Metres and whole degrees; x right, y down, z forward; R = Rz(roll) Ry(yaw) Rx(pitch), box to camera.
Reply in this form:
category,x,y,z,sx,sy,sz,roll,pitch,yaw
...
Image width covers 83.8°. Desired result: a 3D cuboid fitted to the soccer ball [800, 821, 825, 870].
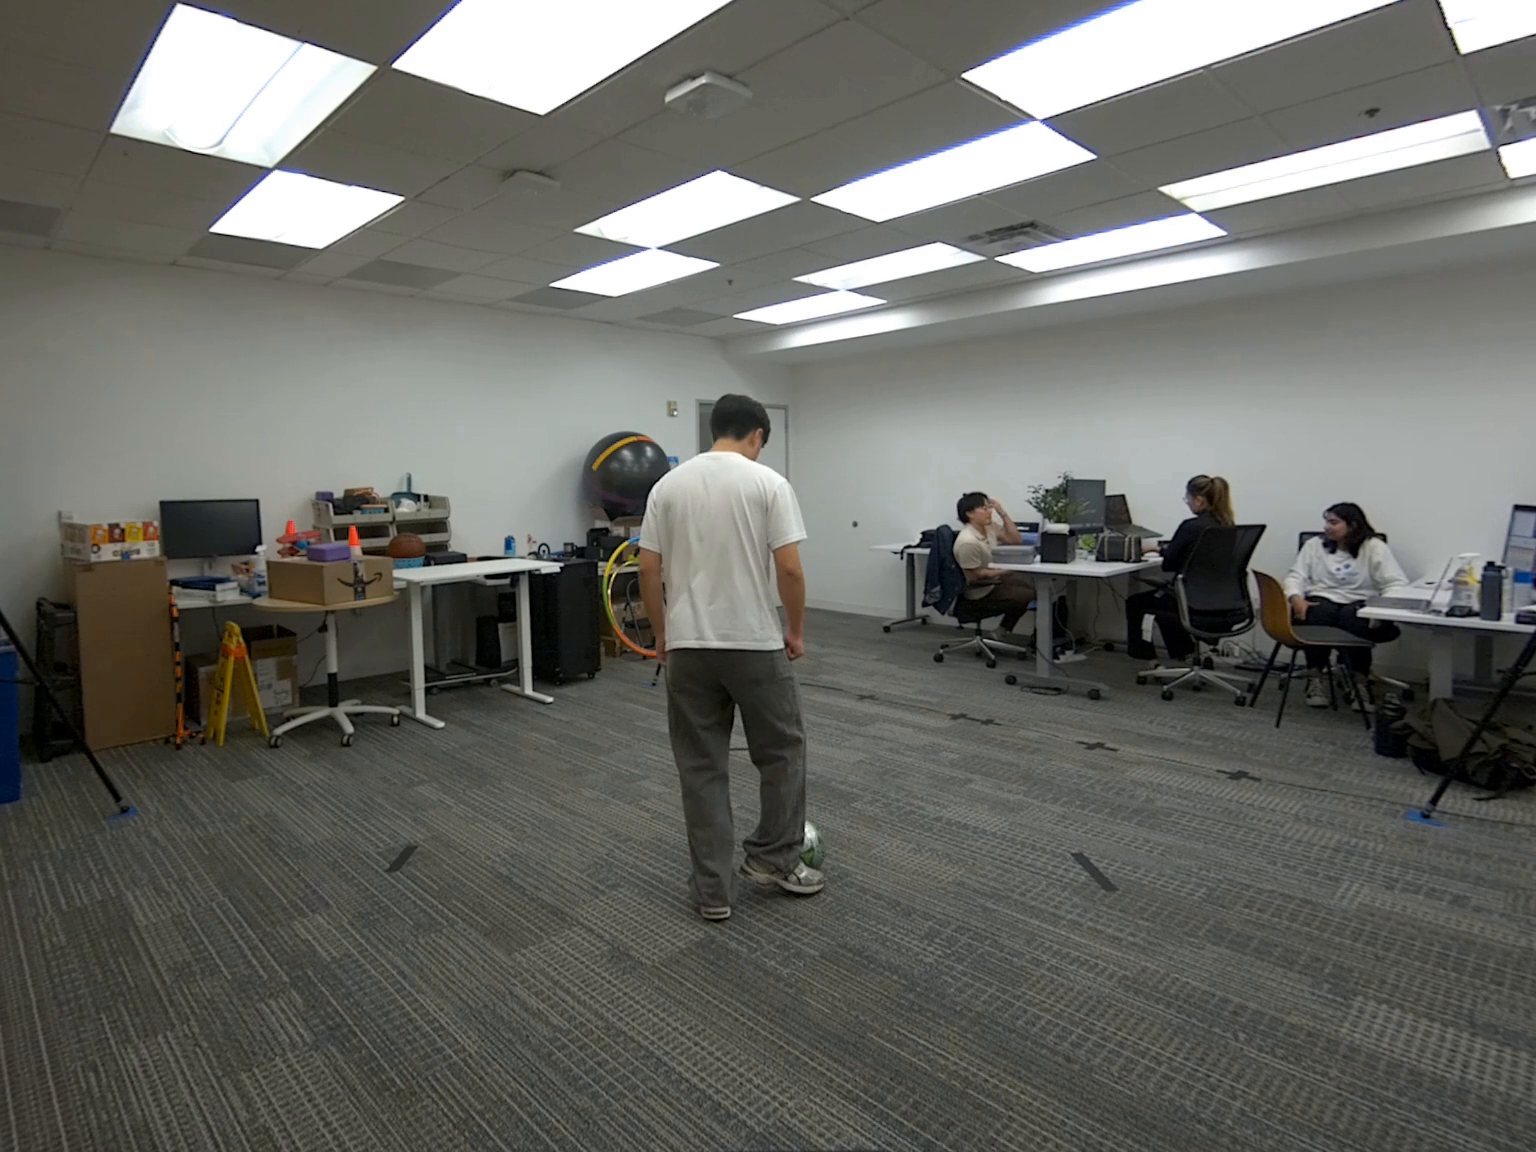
category,x,y,z,sx,sy,sz,roll,pitch,yaw
soccer ball,0.115,0.959,3.041,0.187,0.187,0.188,-1,5,-2
